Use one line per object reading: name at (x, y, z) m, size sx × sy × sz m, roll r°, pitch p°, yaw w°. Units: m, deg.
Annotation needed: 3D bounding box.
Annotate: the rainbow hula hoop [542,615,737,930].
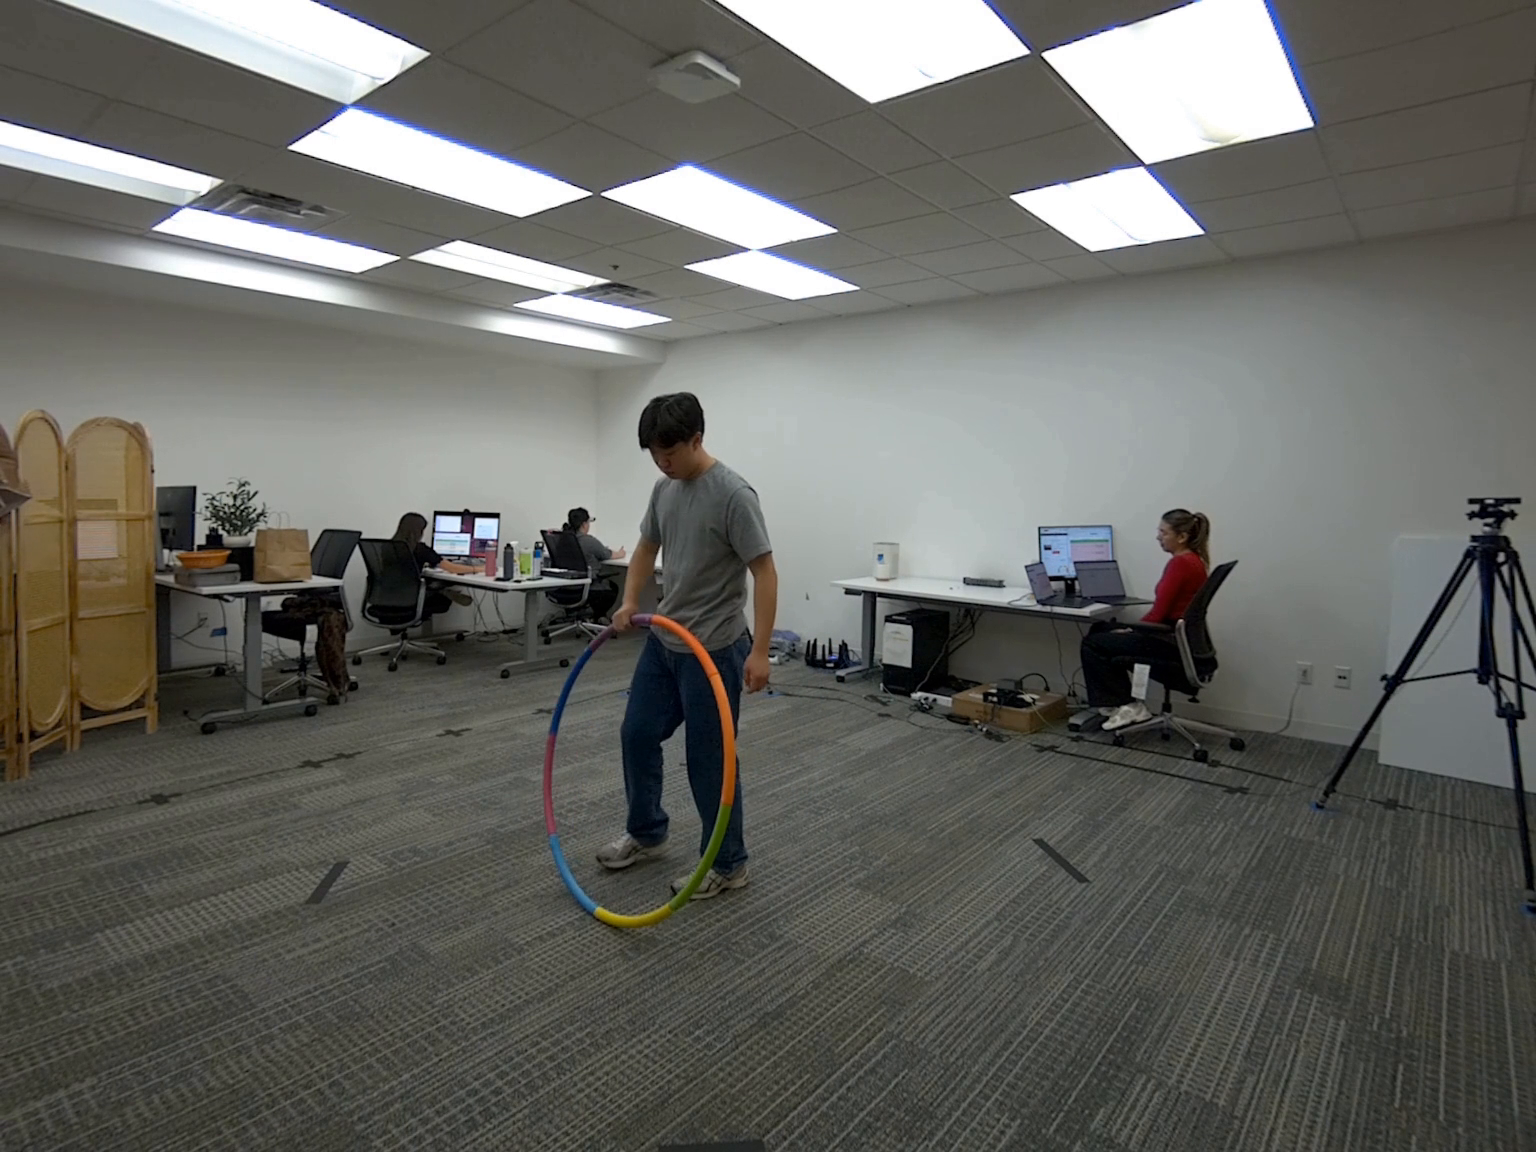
rainbow hula hoop at (-0.476, 0.616, 2.787) m, size 0.034 × 0.983 × 1.012 m, roll 18°, pitch -9°, yaw -43°
